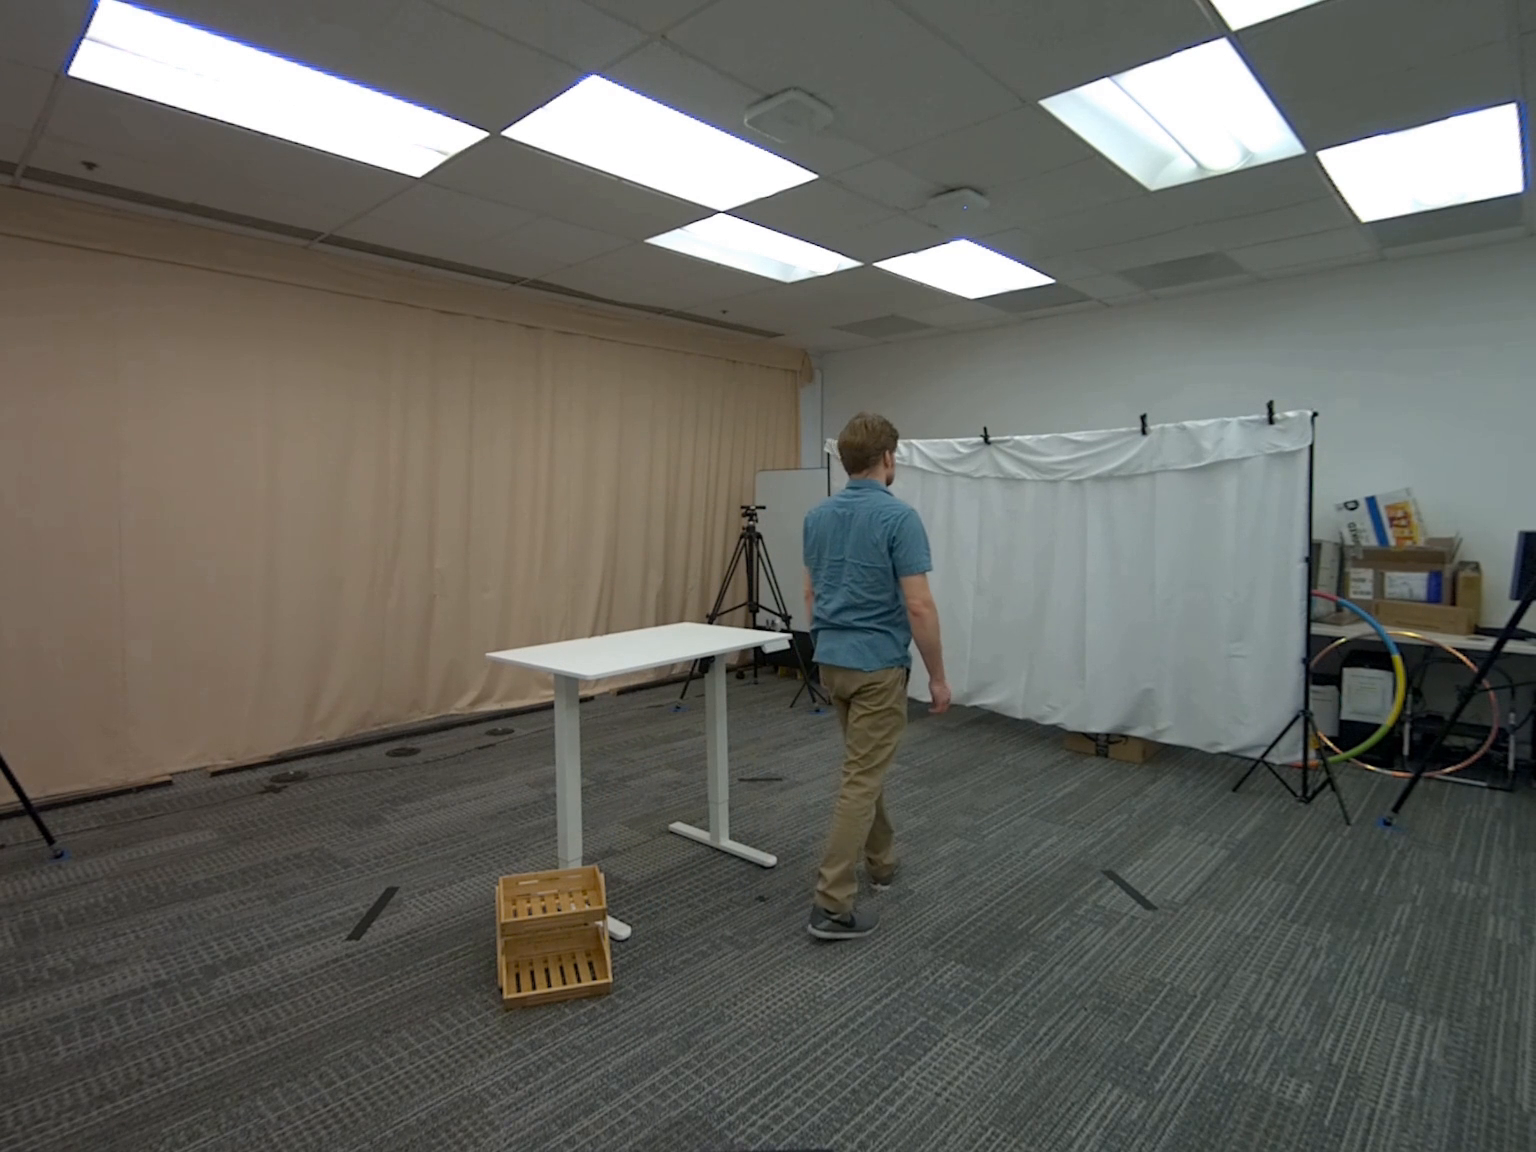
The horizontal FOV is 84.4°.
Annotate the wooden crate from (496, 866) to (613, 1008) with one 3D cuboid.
[{"bbox_3d":[-0.631,1.056,2.480,0.318,0.273,0.308,-1,3,-18],"label":"wooden crate"}]
